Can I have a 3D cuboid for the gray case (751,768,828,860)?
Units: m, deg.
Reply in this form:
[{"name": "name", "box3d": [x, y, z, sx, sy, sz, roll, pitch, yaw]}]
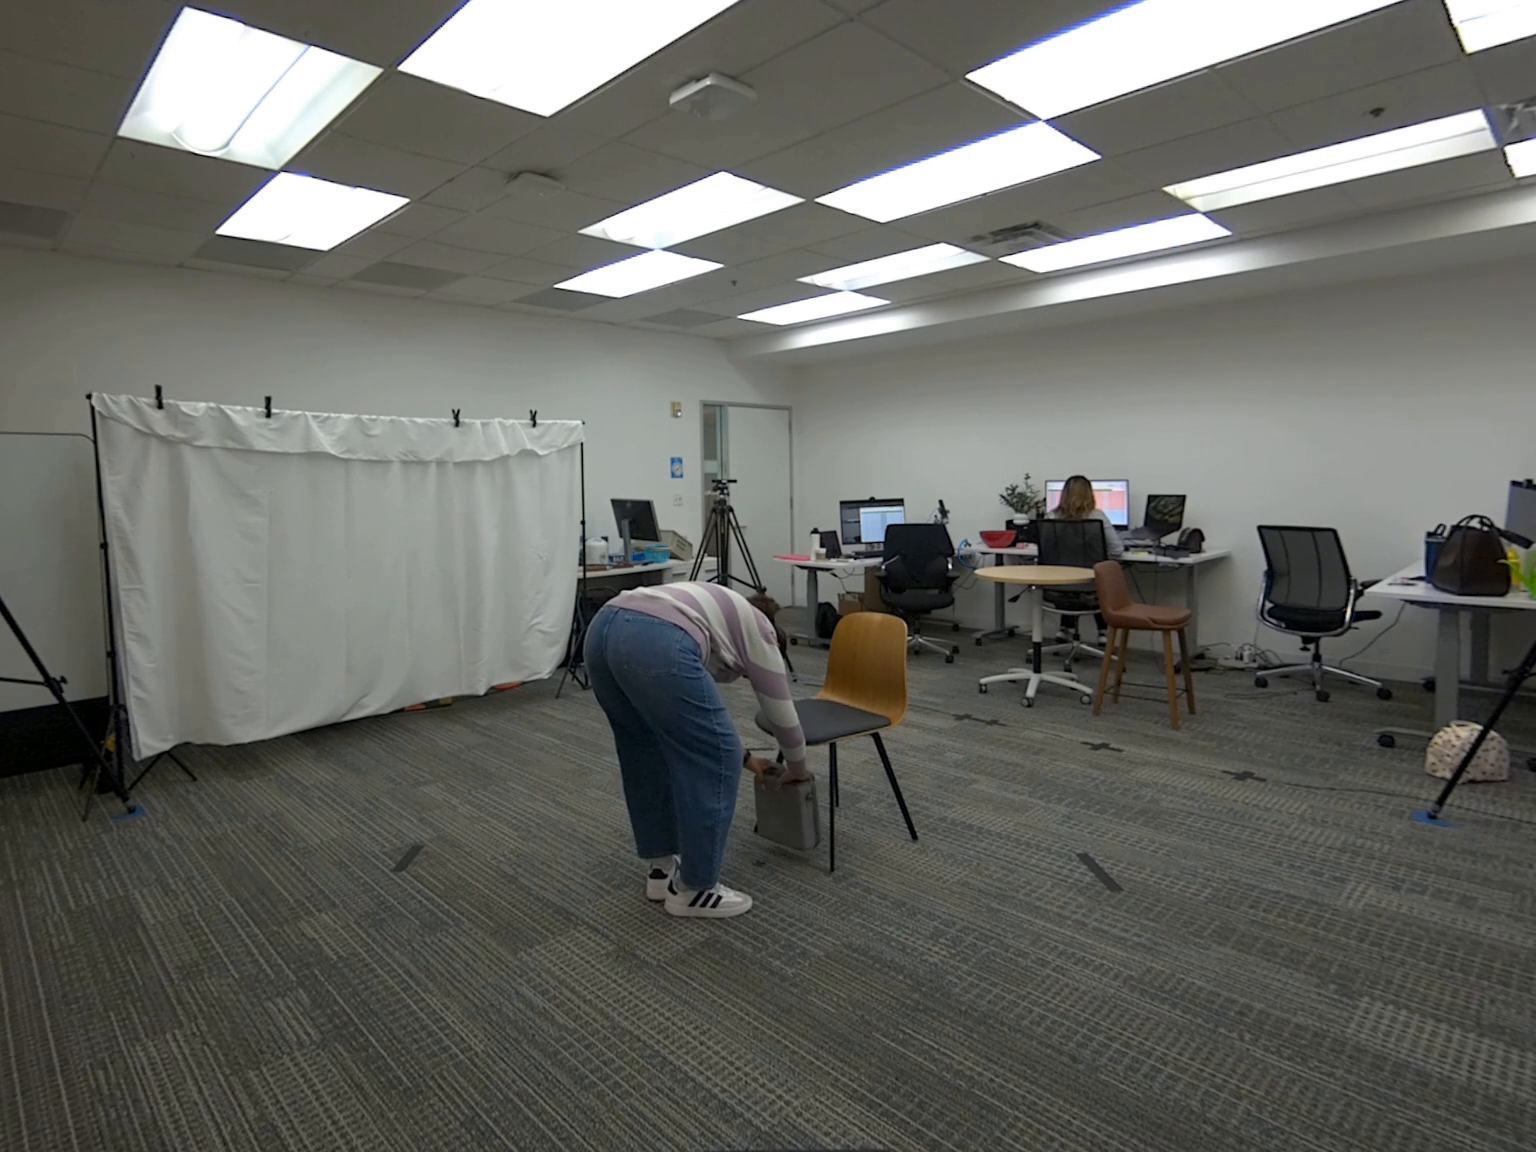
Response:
[{"name": "gray case", "box3d": [0.075, 0.866, 3.162, 0.102, 0.260, 0.264, -7, 5, -42]}]
